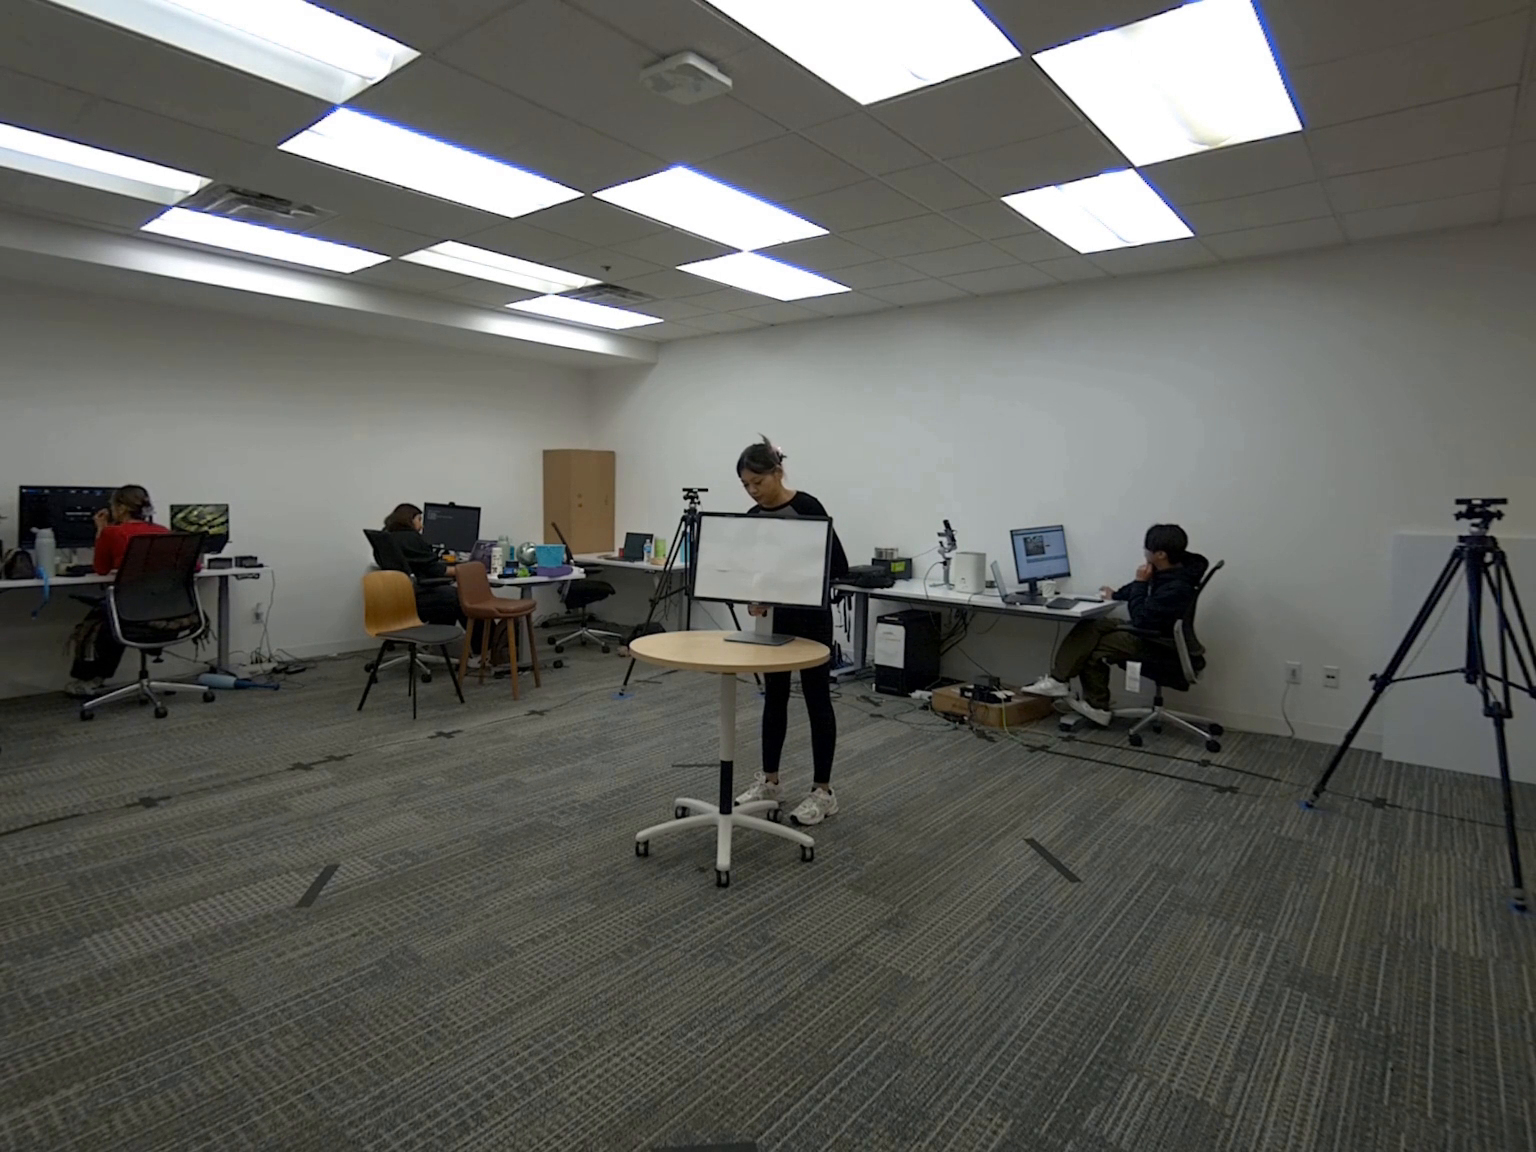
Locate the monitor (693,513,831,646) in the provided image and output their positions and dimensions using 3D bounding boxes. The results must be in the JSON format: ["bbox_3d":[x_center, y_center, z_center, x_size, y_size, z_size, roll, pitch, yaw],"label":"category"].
[{"bbox_3d":[-0.033,0.011,3.411,0.550,0.520,0.184,3,4,19],"label":"monitor"}]
